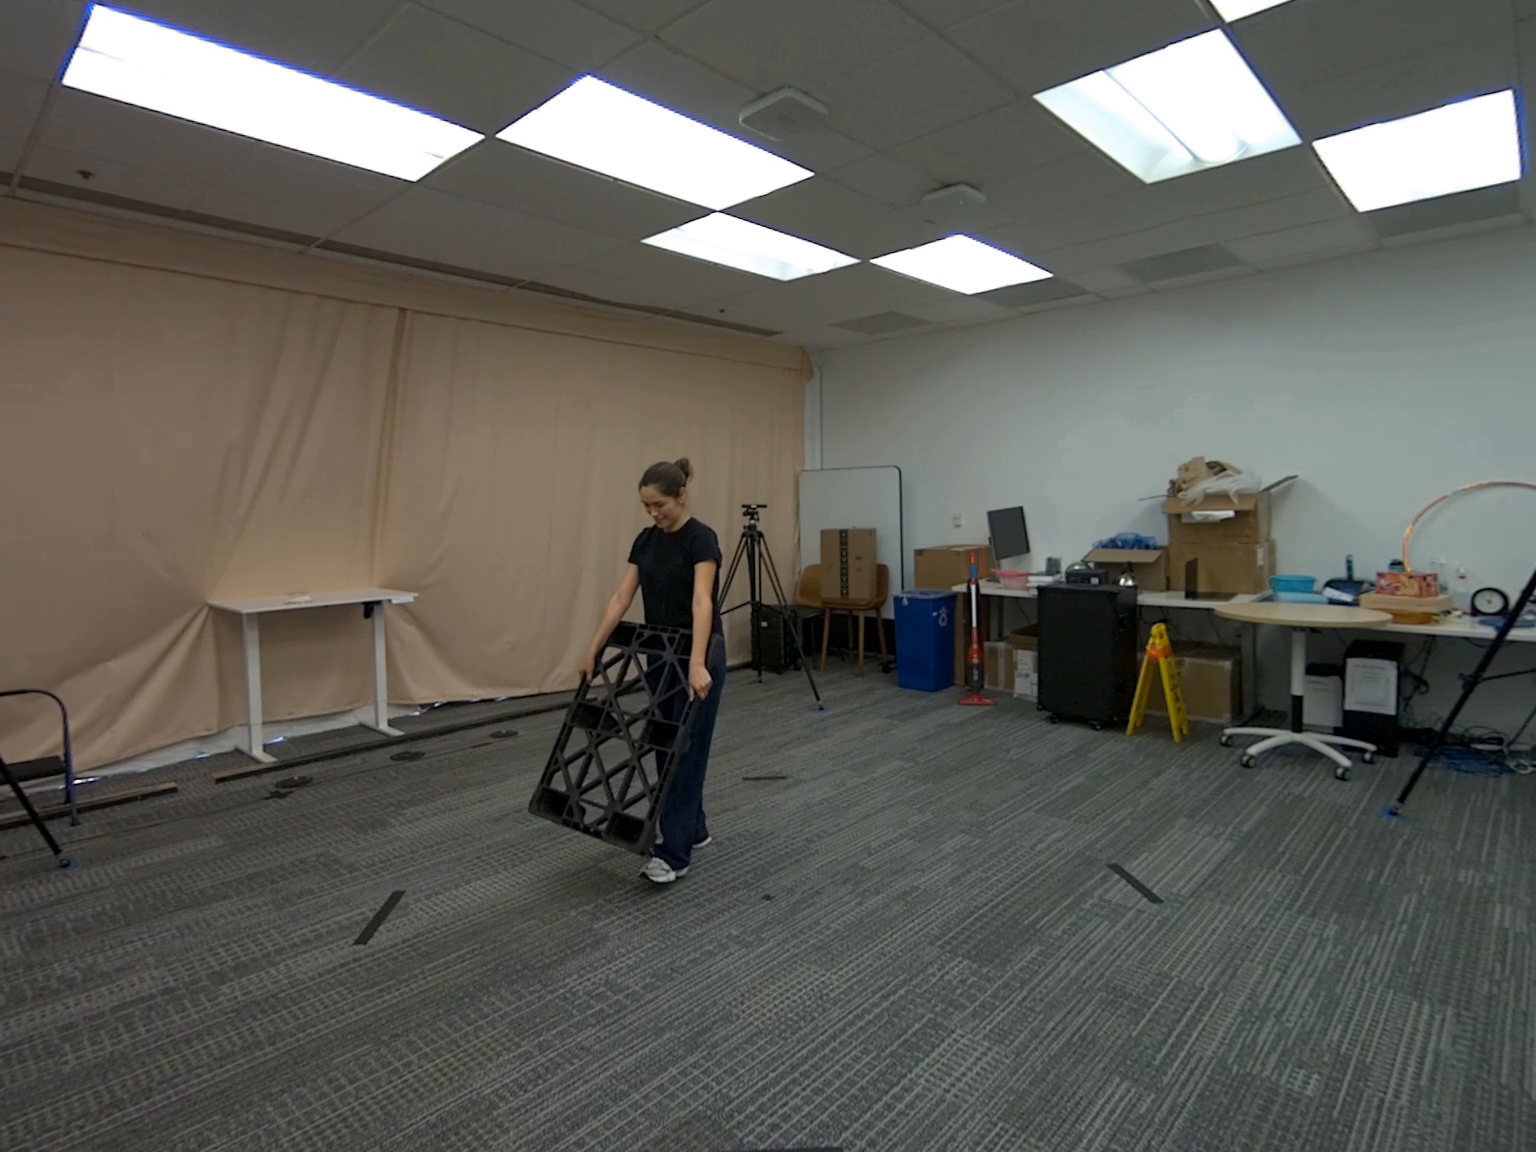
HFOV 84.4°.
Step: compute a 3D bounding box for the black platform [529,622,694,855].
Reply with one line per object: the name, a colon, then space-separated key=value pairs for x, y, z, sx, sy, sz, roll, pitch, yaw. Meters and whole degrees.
black platform: x=-0.499 y=0.573 z=3.132 sx=0.625 sy=0.809 sz=0.138 roll=4 pitch=-24 yaw=36
